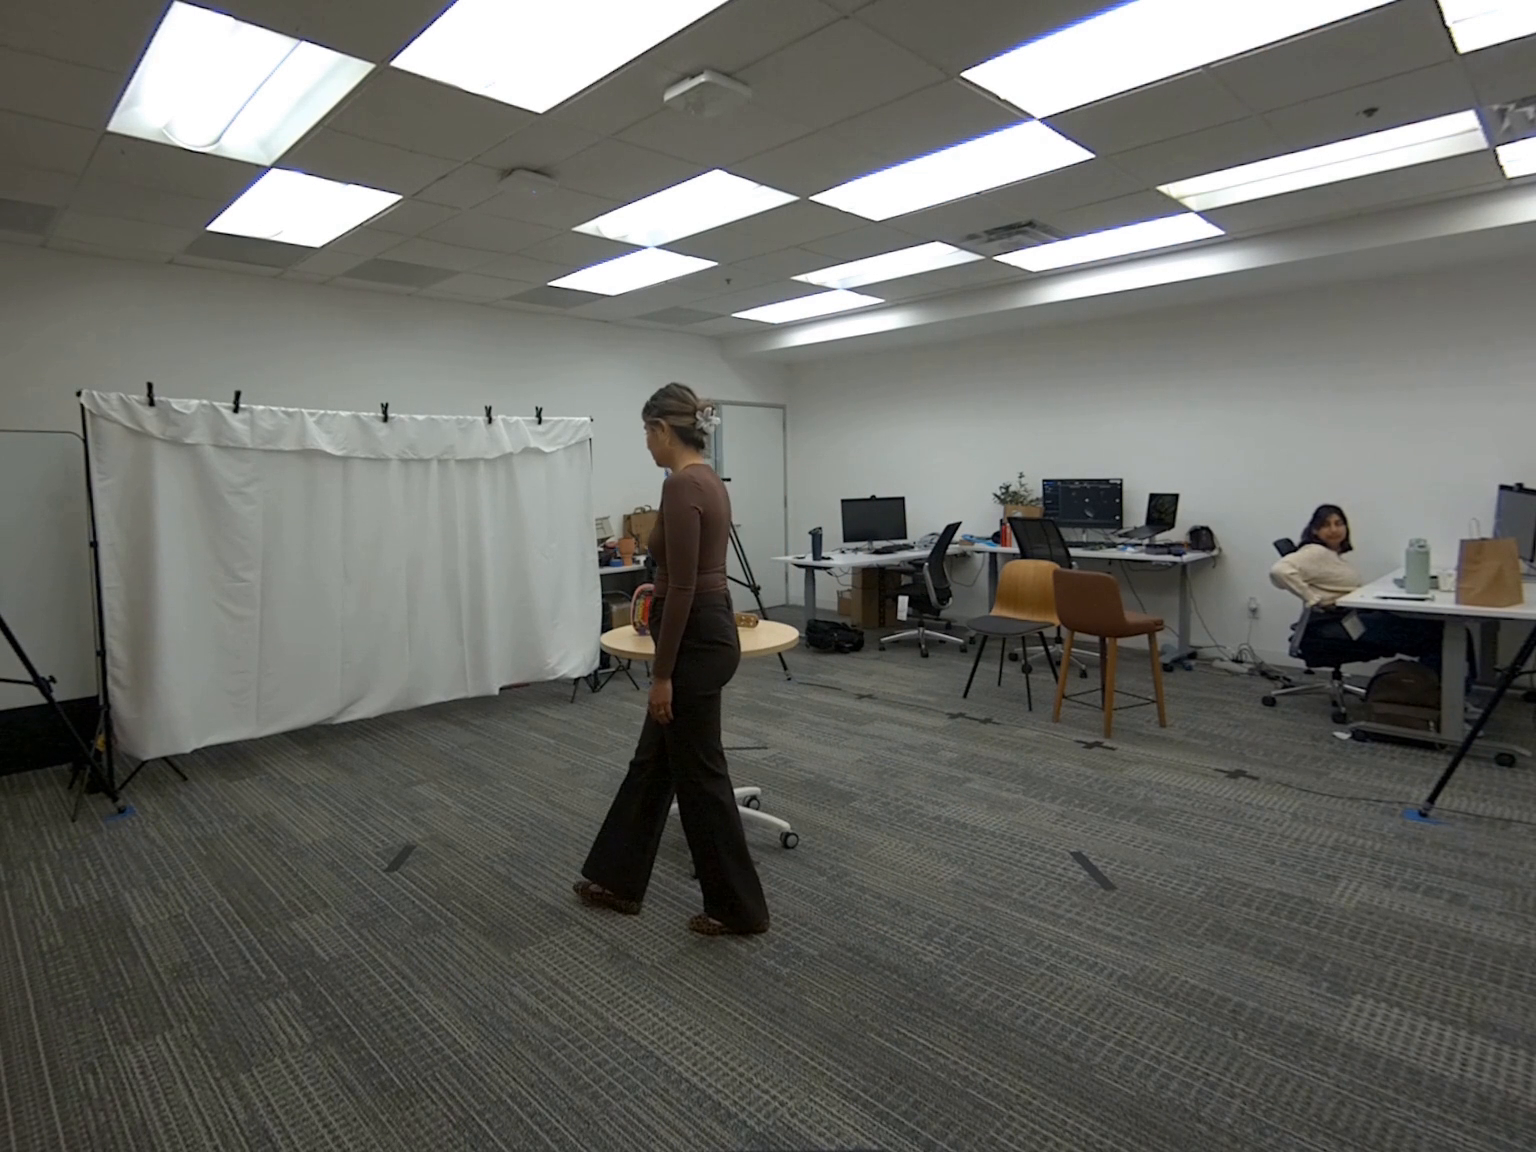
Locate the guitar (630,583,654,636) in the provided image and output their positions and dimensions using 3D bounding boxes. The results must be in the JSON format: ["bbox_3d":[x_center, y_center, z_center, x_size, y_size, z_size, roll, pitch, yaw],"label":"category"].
[{"bbox_3d":[-0.290,0.176,3.354,0.492,0.192,0.072,14,4,-10],"label":"guitar"}]
